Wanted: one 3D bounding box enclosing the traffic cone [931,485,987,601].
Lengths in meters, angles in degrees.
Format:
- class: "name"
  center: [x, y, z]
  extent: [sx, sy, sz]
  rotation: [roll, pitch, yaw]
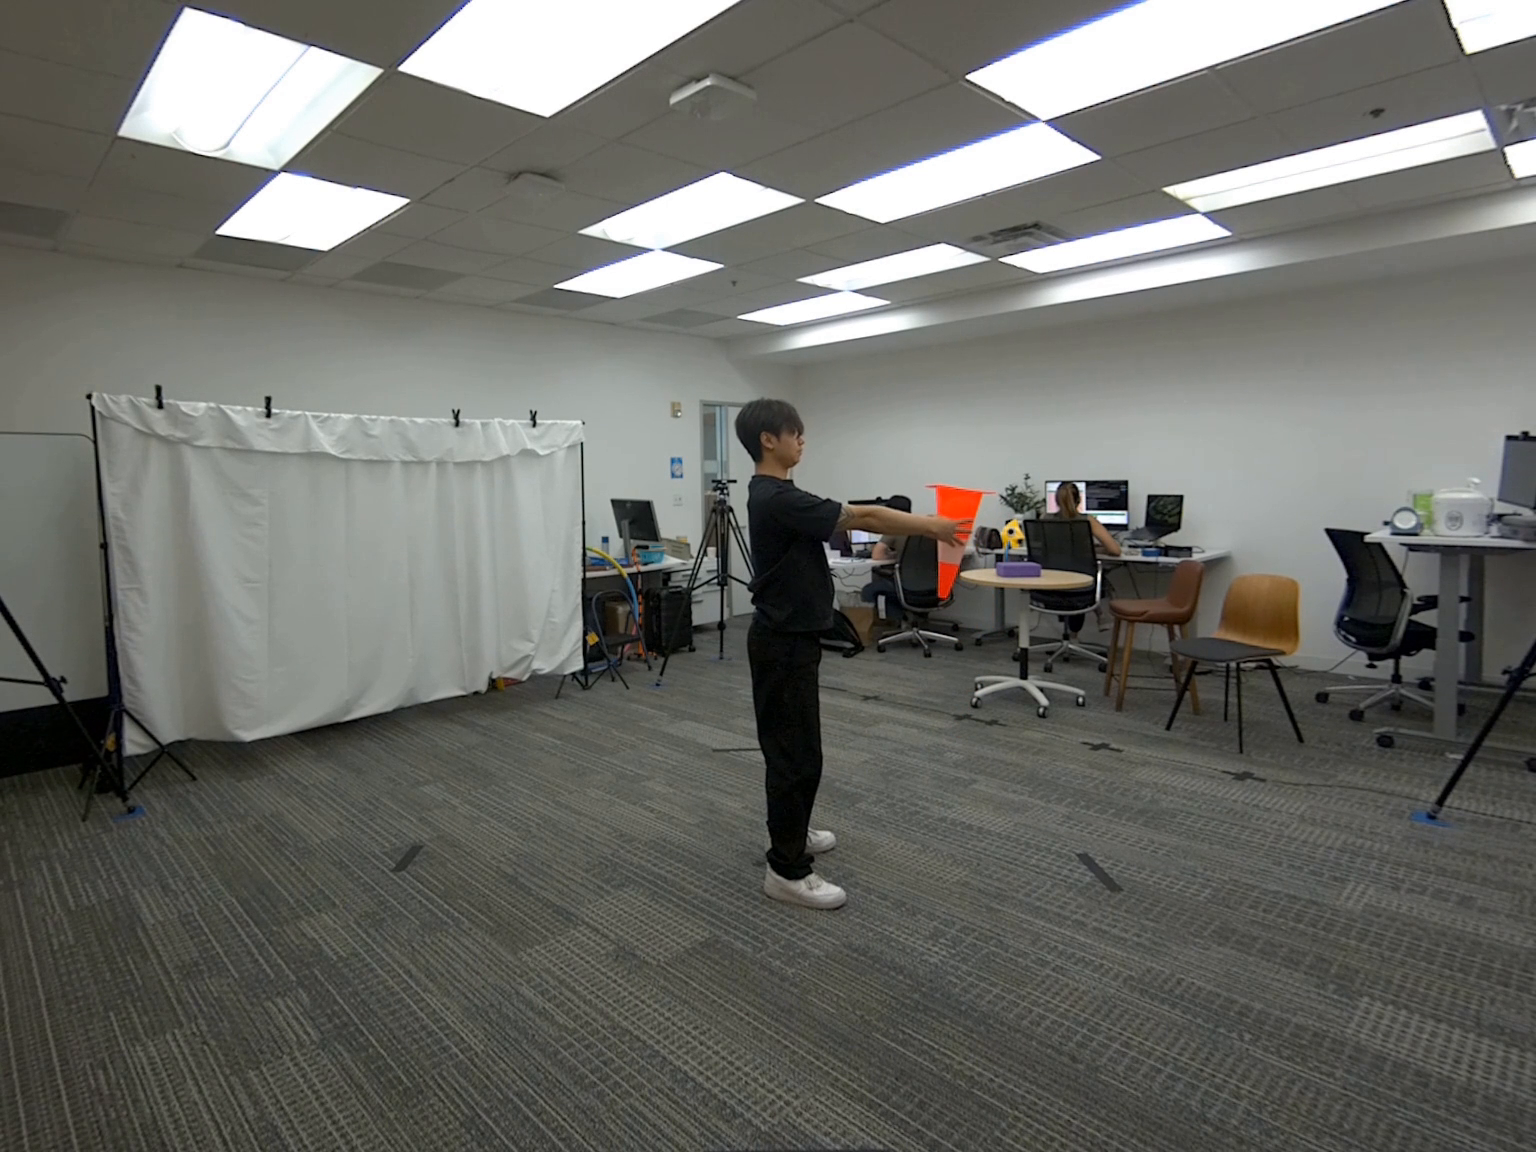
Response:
- class: "traffic cone"
  center: [0.643, -0.107, 2.935]
  extent: [0.203, 0.383, 0.205]
  rotation: [6, 1, -1]
